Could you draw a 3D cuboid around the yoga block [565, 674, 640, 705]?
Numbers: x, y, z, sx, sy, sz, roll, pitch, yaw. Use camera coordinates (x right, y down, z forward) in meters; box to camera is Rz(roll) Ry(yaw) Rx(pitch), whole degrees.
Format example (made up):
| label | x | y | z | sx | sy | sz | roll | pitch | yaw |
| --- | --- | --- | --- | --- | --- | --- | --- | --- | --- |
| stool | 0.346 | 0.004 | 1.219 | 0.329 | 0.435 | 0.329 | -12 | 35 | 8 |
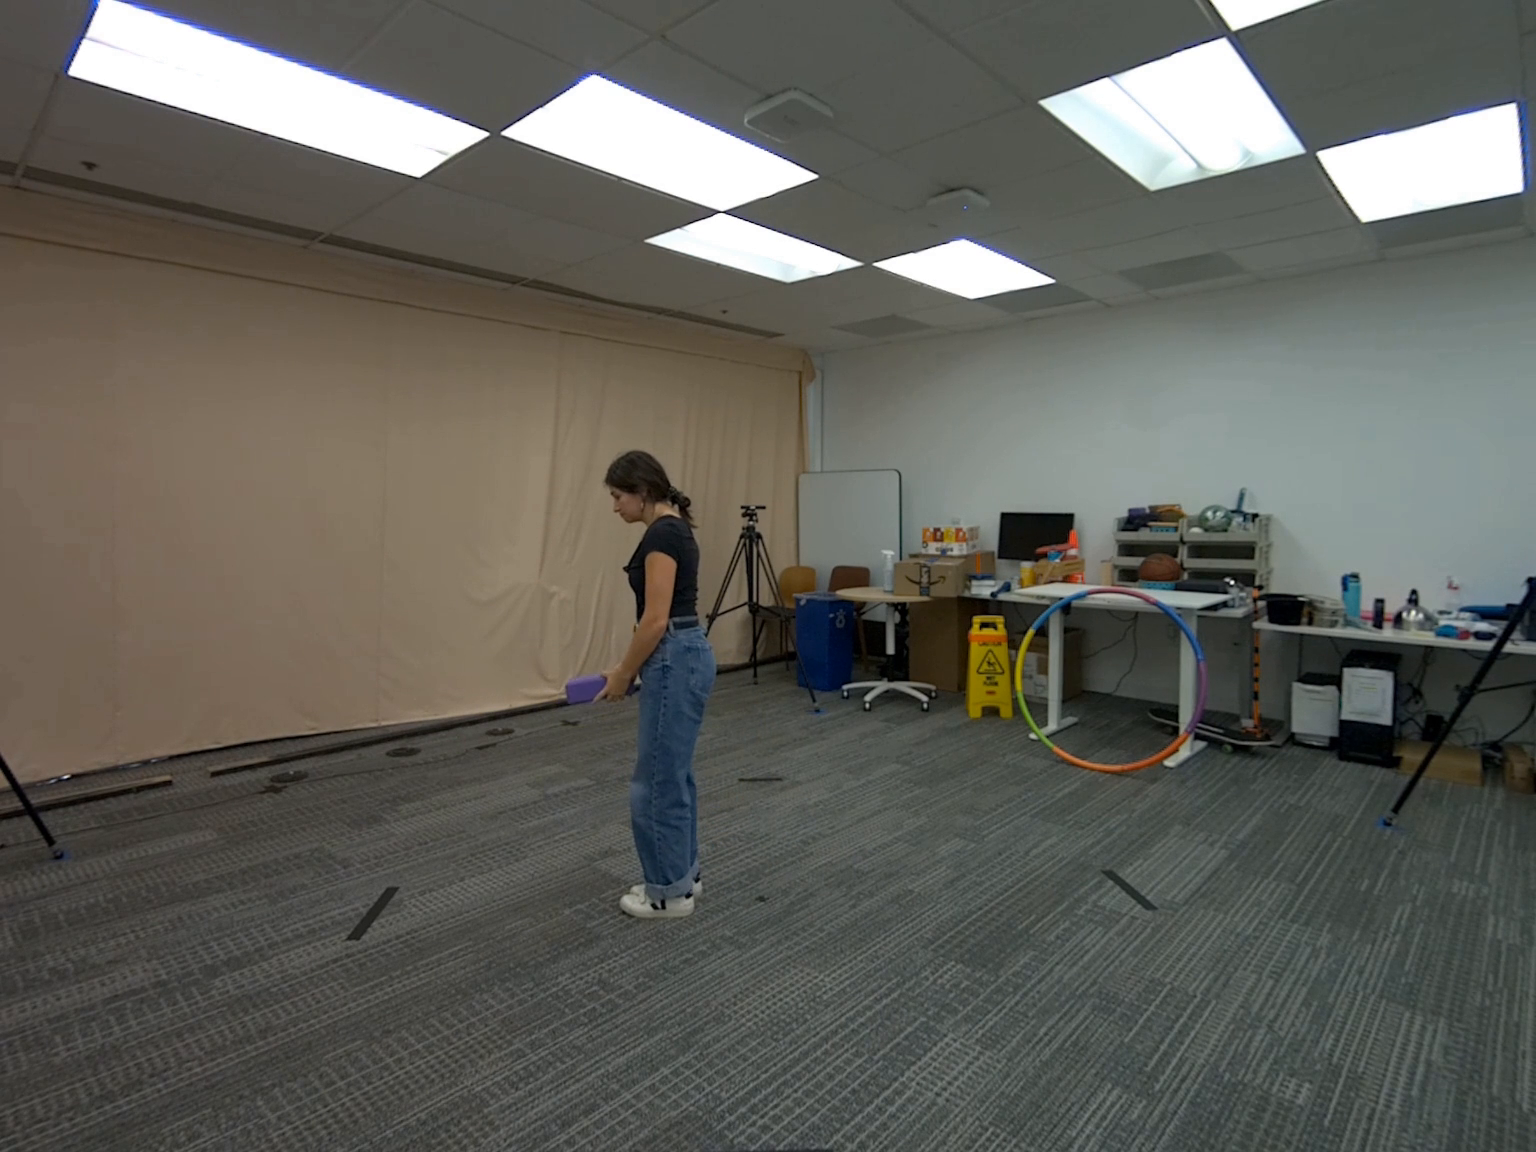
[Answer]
| label | x | y | z | sx | sy | sz | roll | pitch | yaw |
| --- | --- | --- | --- | --- | --- | --- | --- | --- | --- |
| yoga block | -0.572 | 0.399 | 2.888 | 0.229 | 0.076 | 0.149 | -9 | 1 | -3 |
